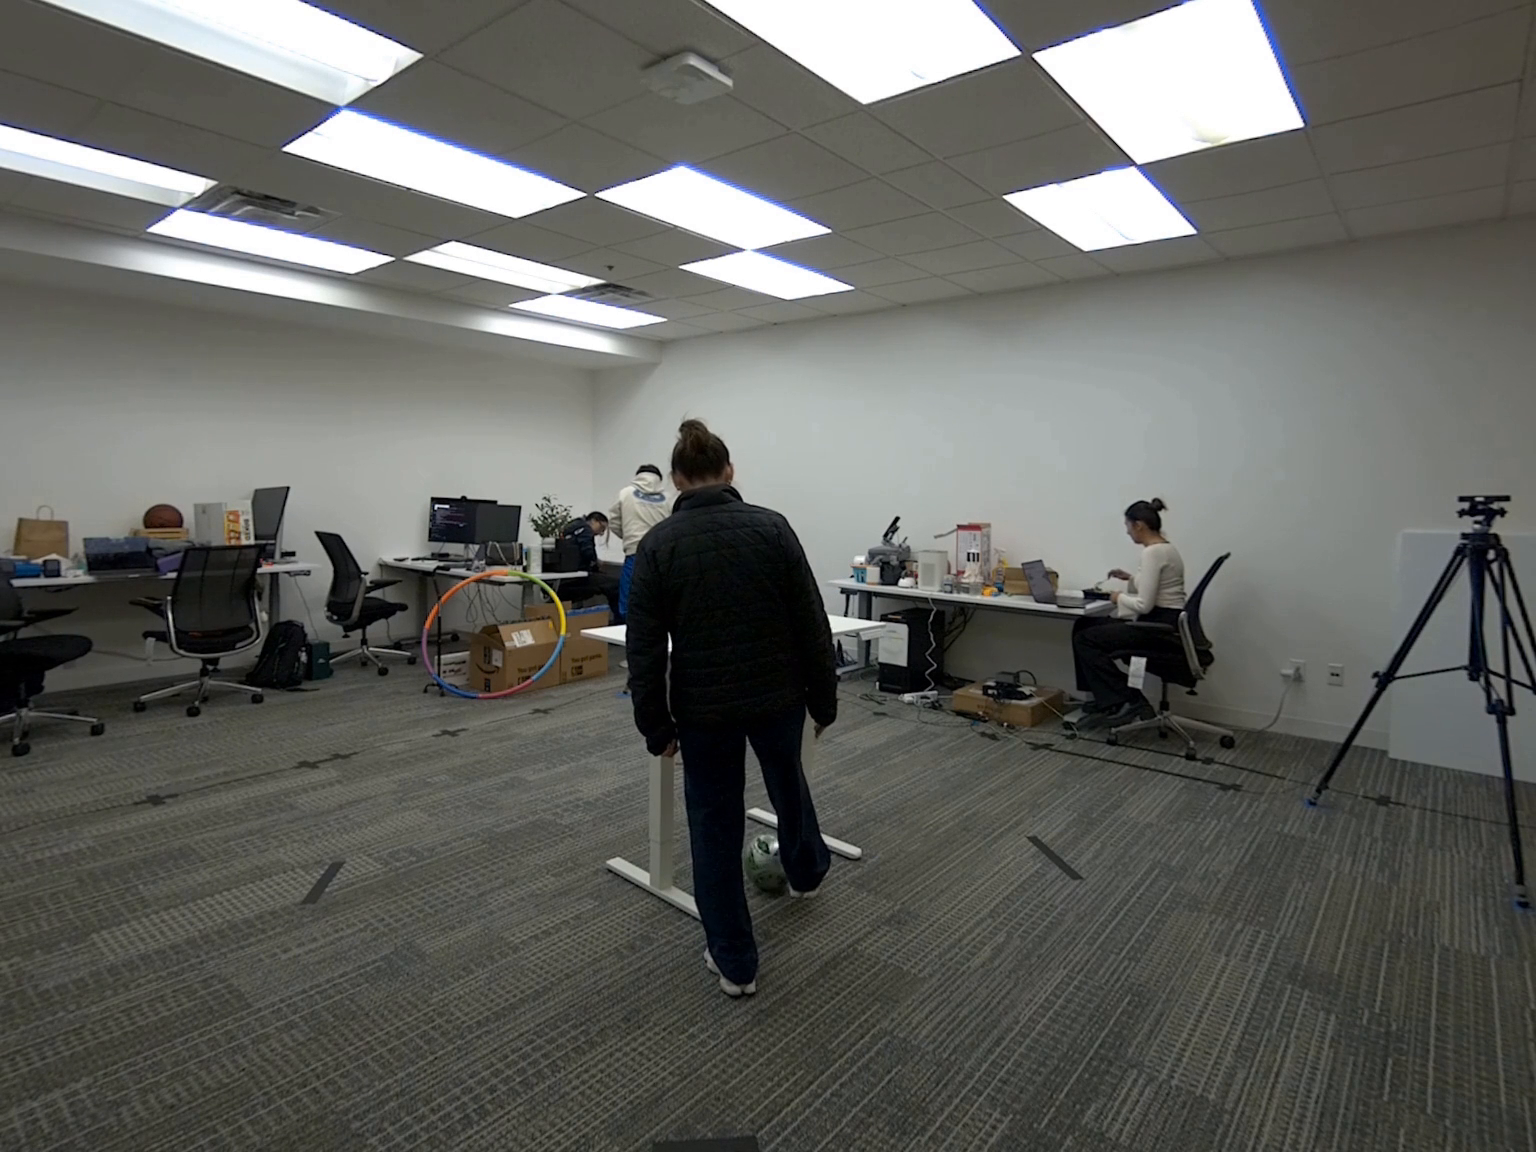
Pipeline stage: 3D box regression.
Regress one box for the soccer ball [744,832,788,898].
[{"bbox_3d":[-0.011,0.990,2.964,0.187,0.187,0.188,1,4,-2],"label":"soccer ball"}]
